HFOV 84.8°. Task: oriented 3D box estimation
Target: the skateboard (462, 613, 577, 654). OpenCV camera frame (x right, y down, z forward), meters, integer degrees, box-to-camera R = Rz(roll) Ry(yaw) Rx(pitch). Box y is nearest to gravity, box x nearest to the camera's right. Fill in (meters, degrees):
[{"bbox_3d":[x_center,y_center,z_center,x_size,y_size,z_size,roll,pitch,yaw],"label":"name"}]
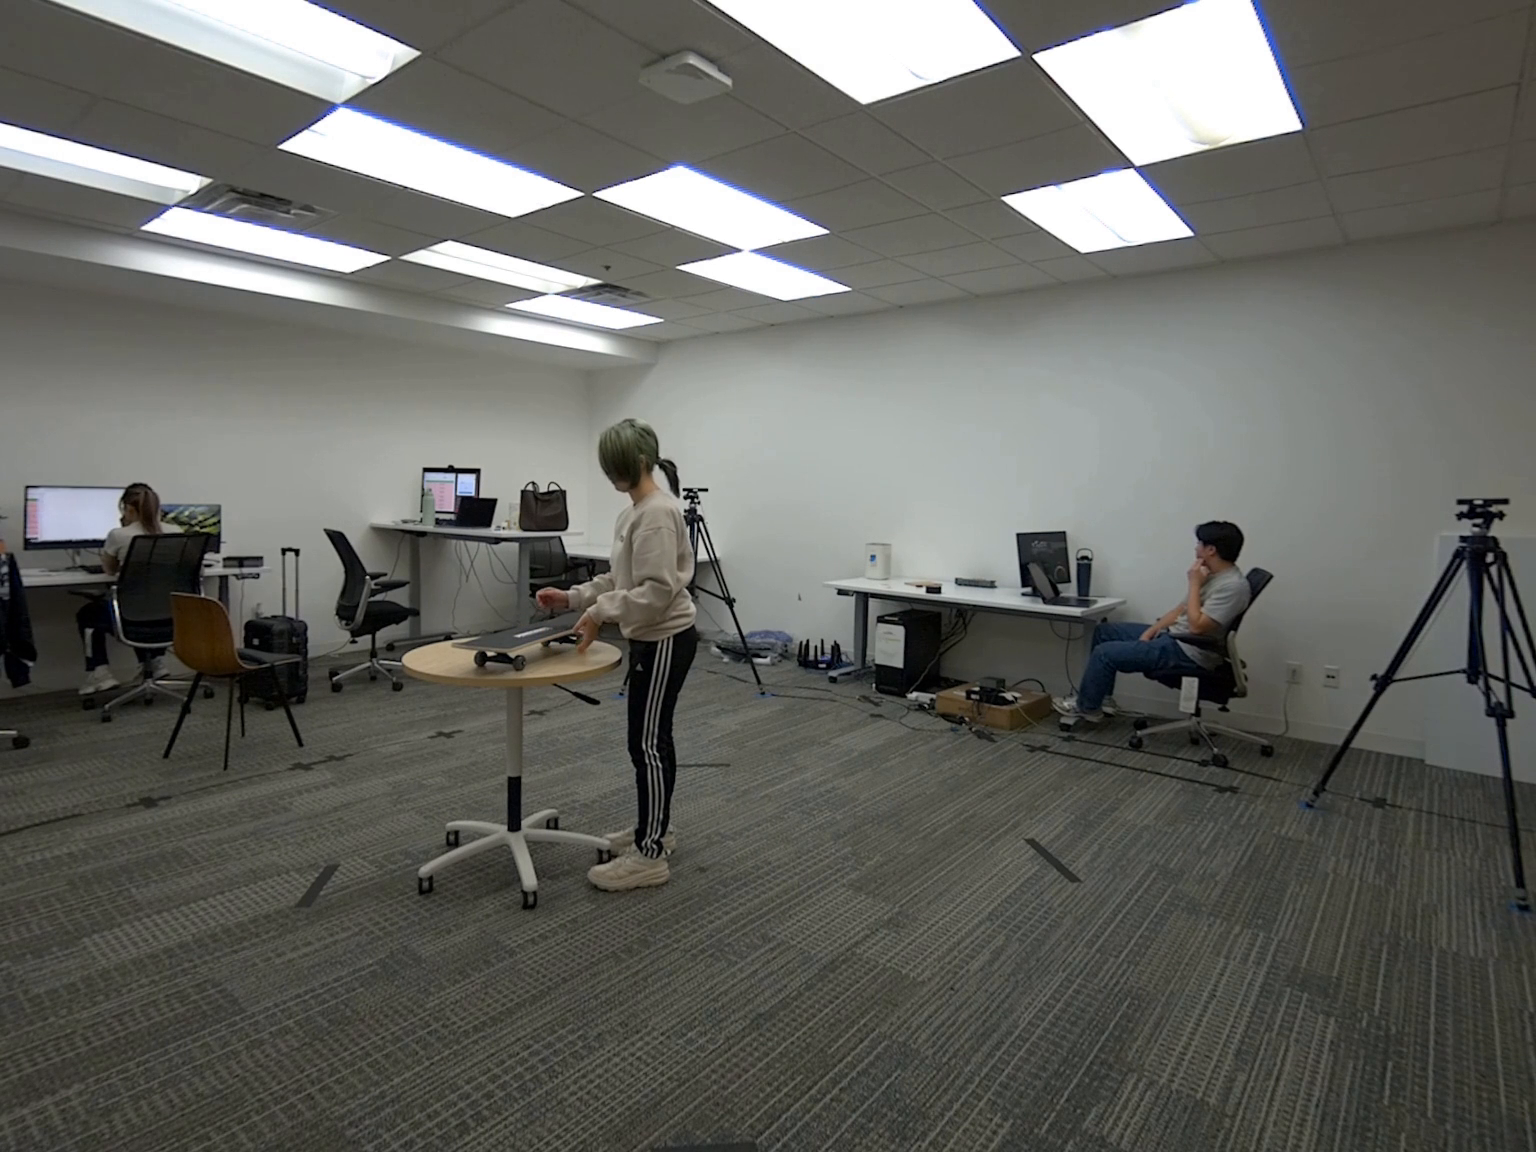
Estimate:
[{"bbox_3d":[-0.851,0.235,3.029,0.197,0.110,0.772,4,6,18],"label":"skateboard"}]
